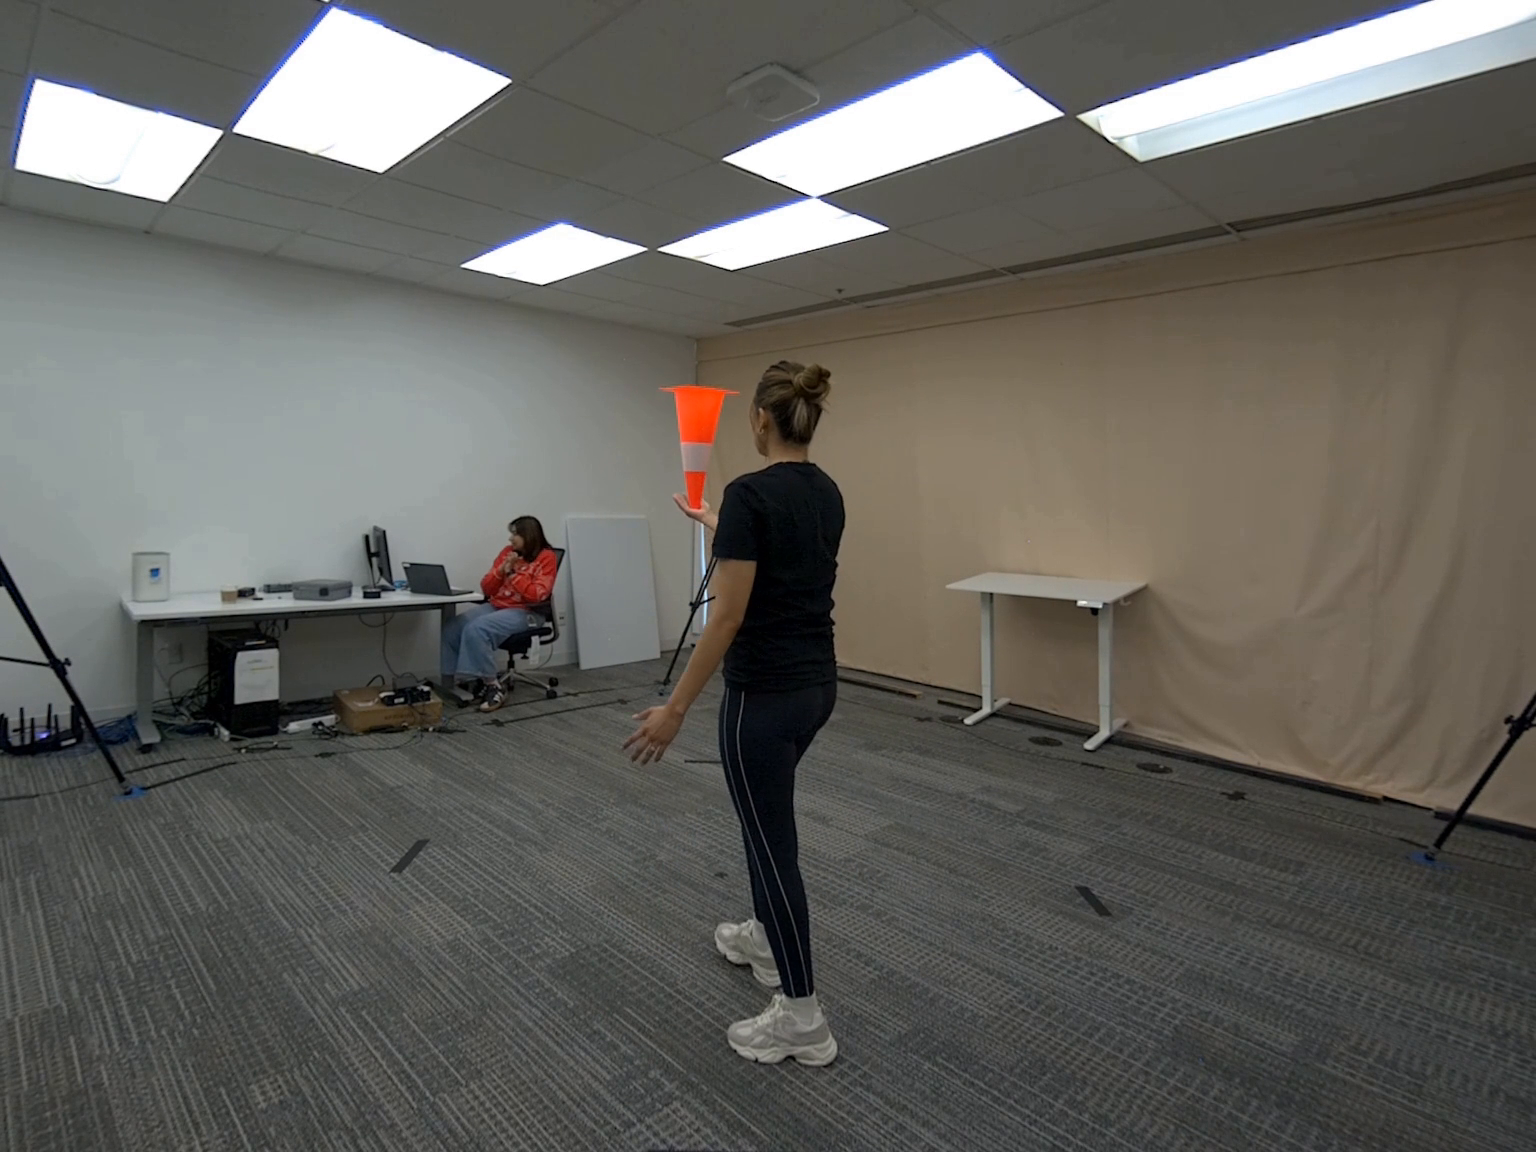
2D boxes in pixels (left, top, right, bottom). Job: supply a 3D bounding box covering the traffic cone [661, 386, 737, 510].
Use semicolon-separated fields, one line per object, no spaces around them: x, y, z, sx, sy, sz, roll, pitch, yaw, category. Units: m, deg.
-0.238;-0.398;2.674;0.198;0.383;0.210;1;5;-42;traffic cone
